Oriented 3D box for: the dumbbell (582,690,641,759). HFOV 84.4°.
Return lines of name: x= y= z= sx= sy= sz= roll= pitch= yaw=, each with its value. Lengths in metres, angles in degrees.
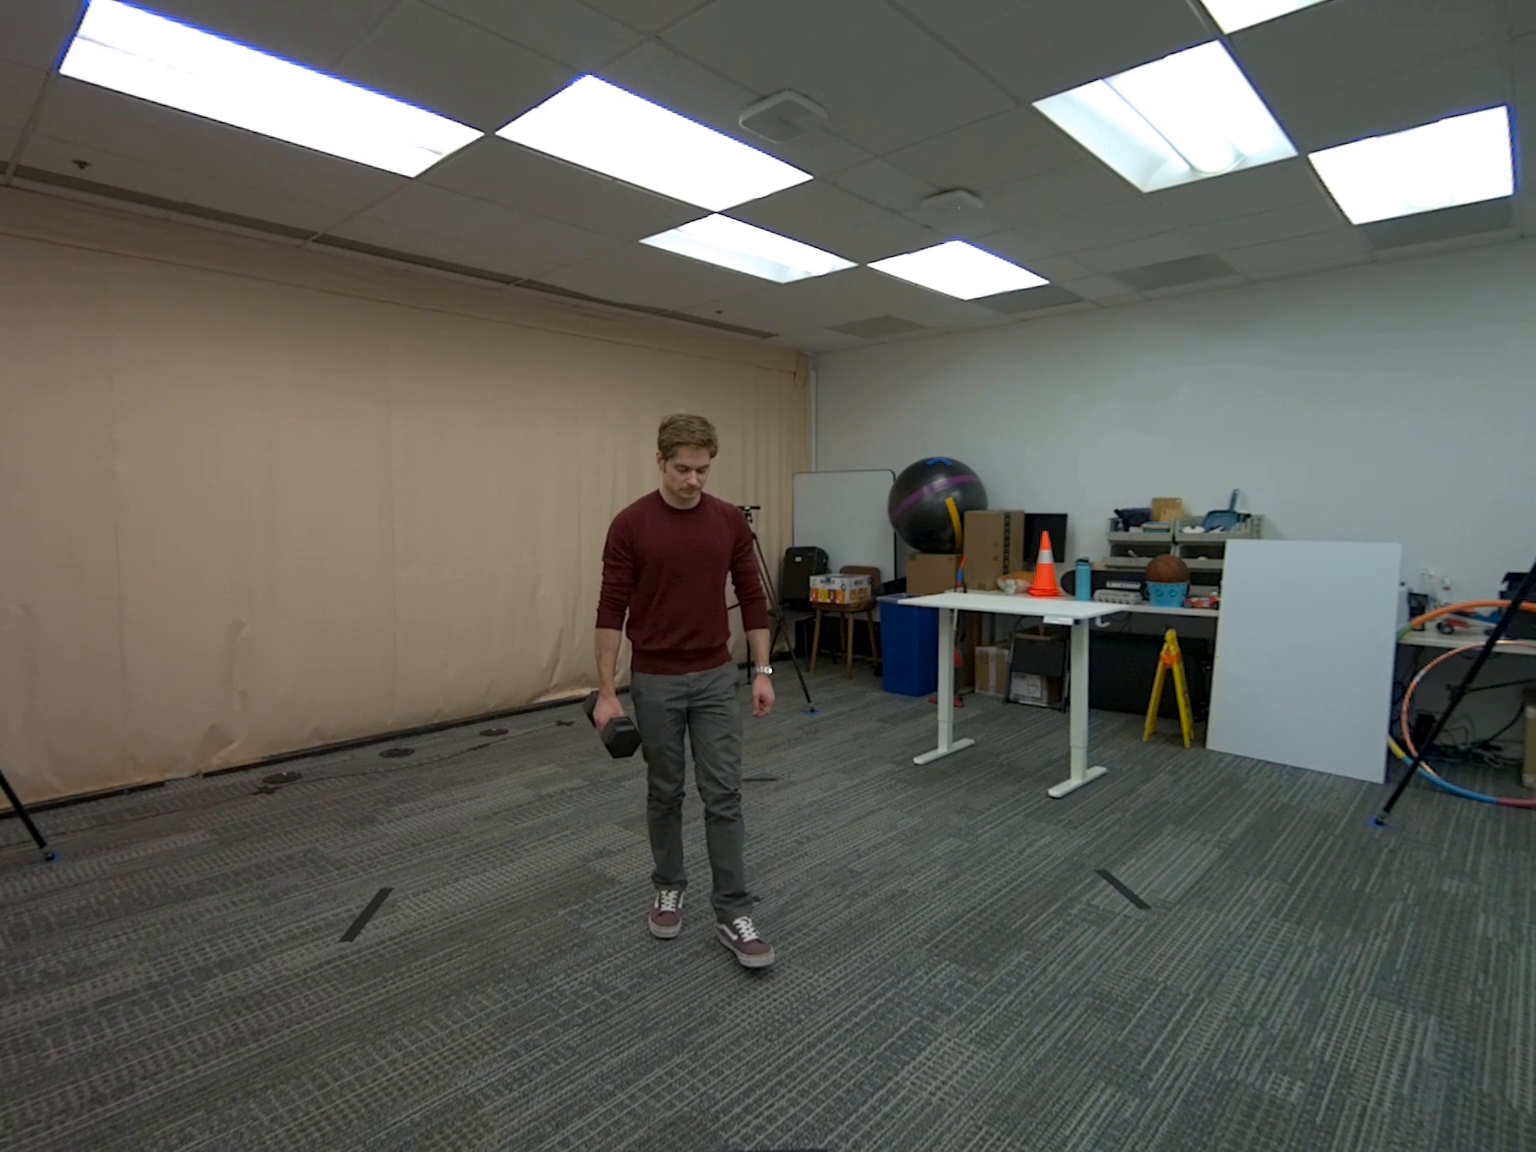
dumbbell: x=-0.499 y=0.472 z=2.679 sx=0.105 sy=0.123 sz=0.303 roll=34 pitch=-1 yaw=-31
